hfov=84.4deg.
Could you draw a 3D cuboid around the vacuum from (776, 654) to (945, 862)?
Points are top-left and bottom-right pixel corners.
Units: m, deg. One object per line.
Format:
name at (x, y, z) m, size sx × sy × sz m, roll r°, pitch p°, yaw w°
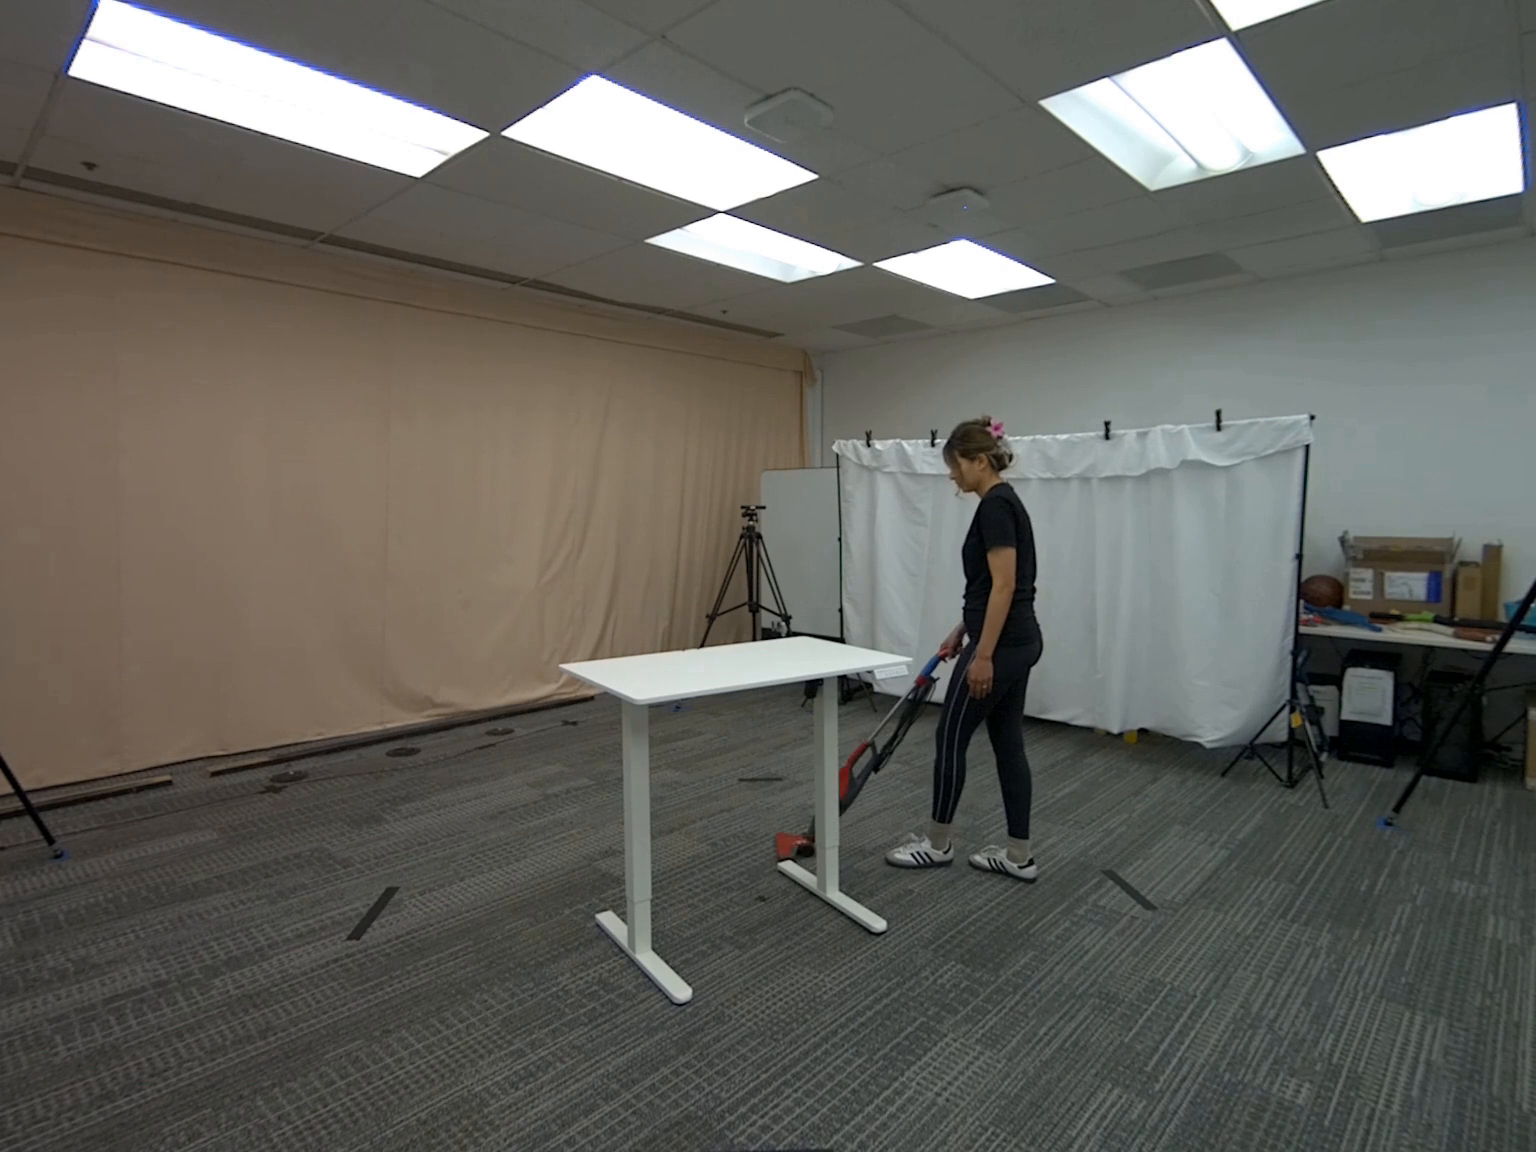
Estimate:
vacuum at (0.436, 0.691, 3.373) m, size 0.144 × 1.049 × 0.252 m, roll 40°, pitch 2°, yaw 0°
